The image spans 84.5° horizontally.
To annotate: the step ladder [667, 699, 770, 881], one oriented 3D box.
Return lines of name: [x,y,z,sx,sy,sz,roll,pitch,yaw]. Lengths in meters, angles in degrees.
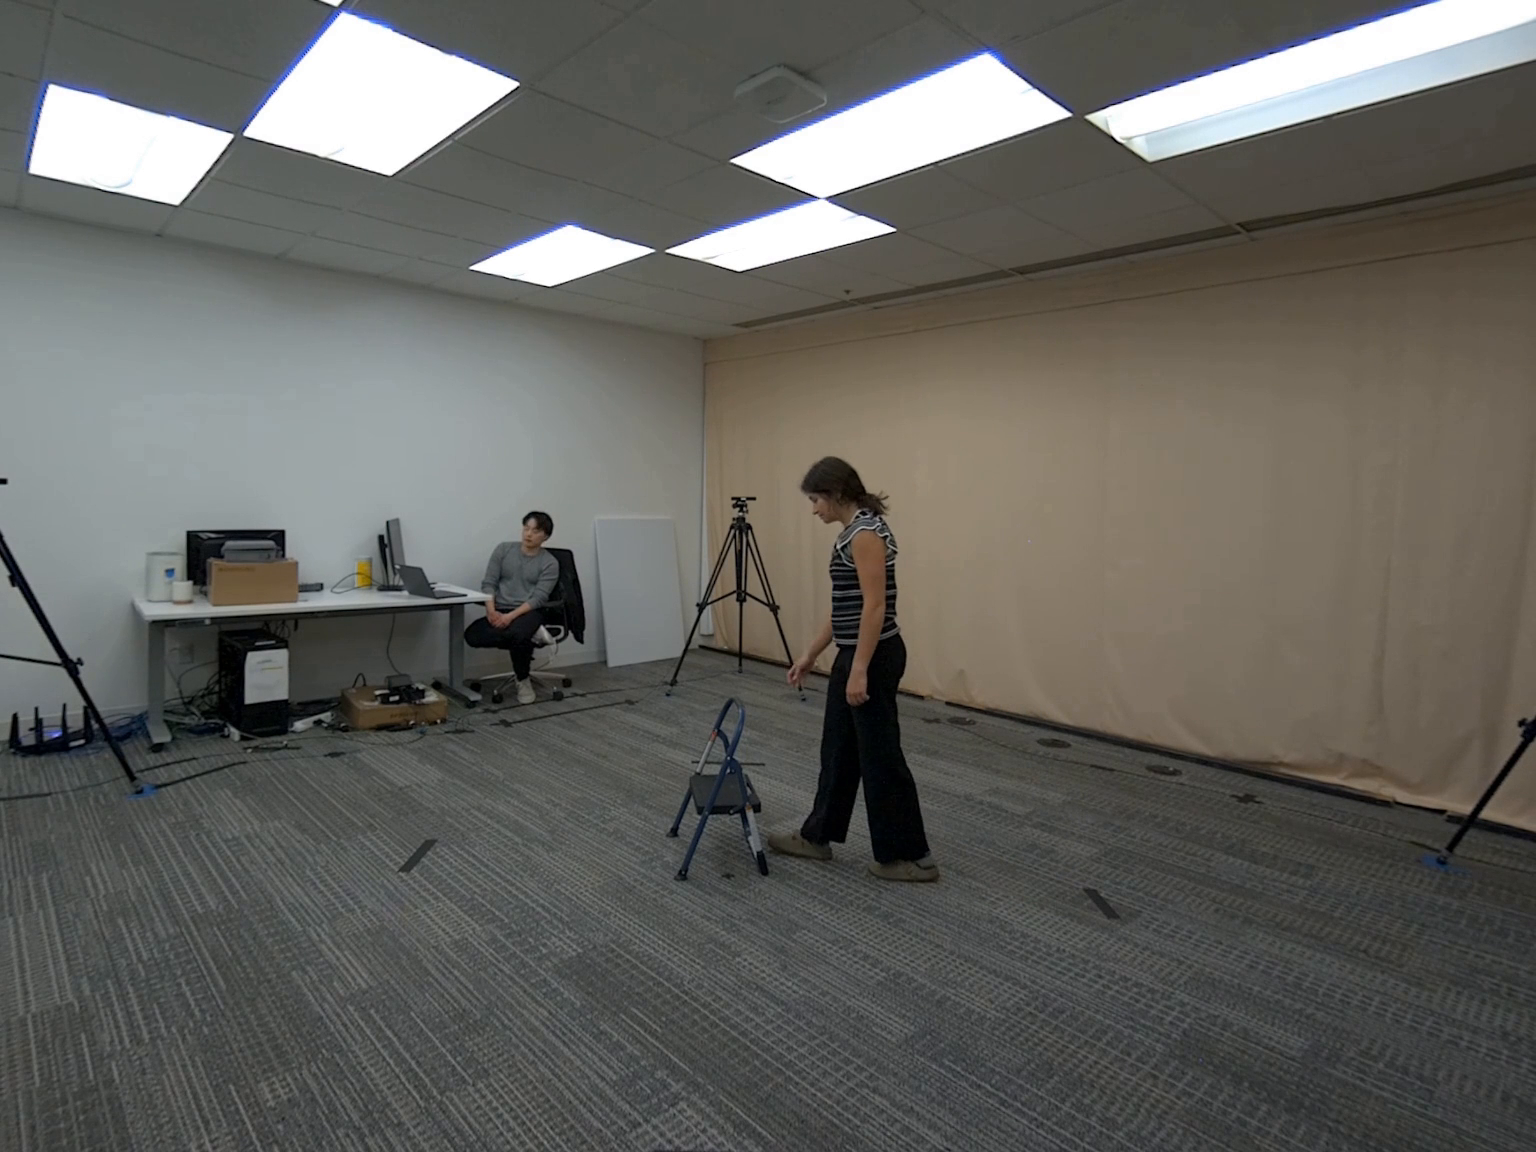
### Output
step ladder: [-0.196,0.786,3.273,0.346,0.605,0.435,1,4,-11]
